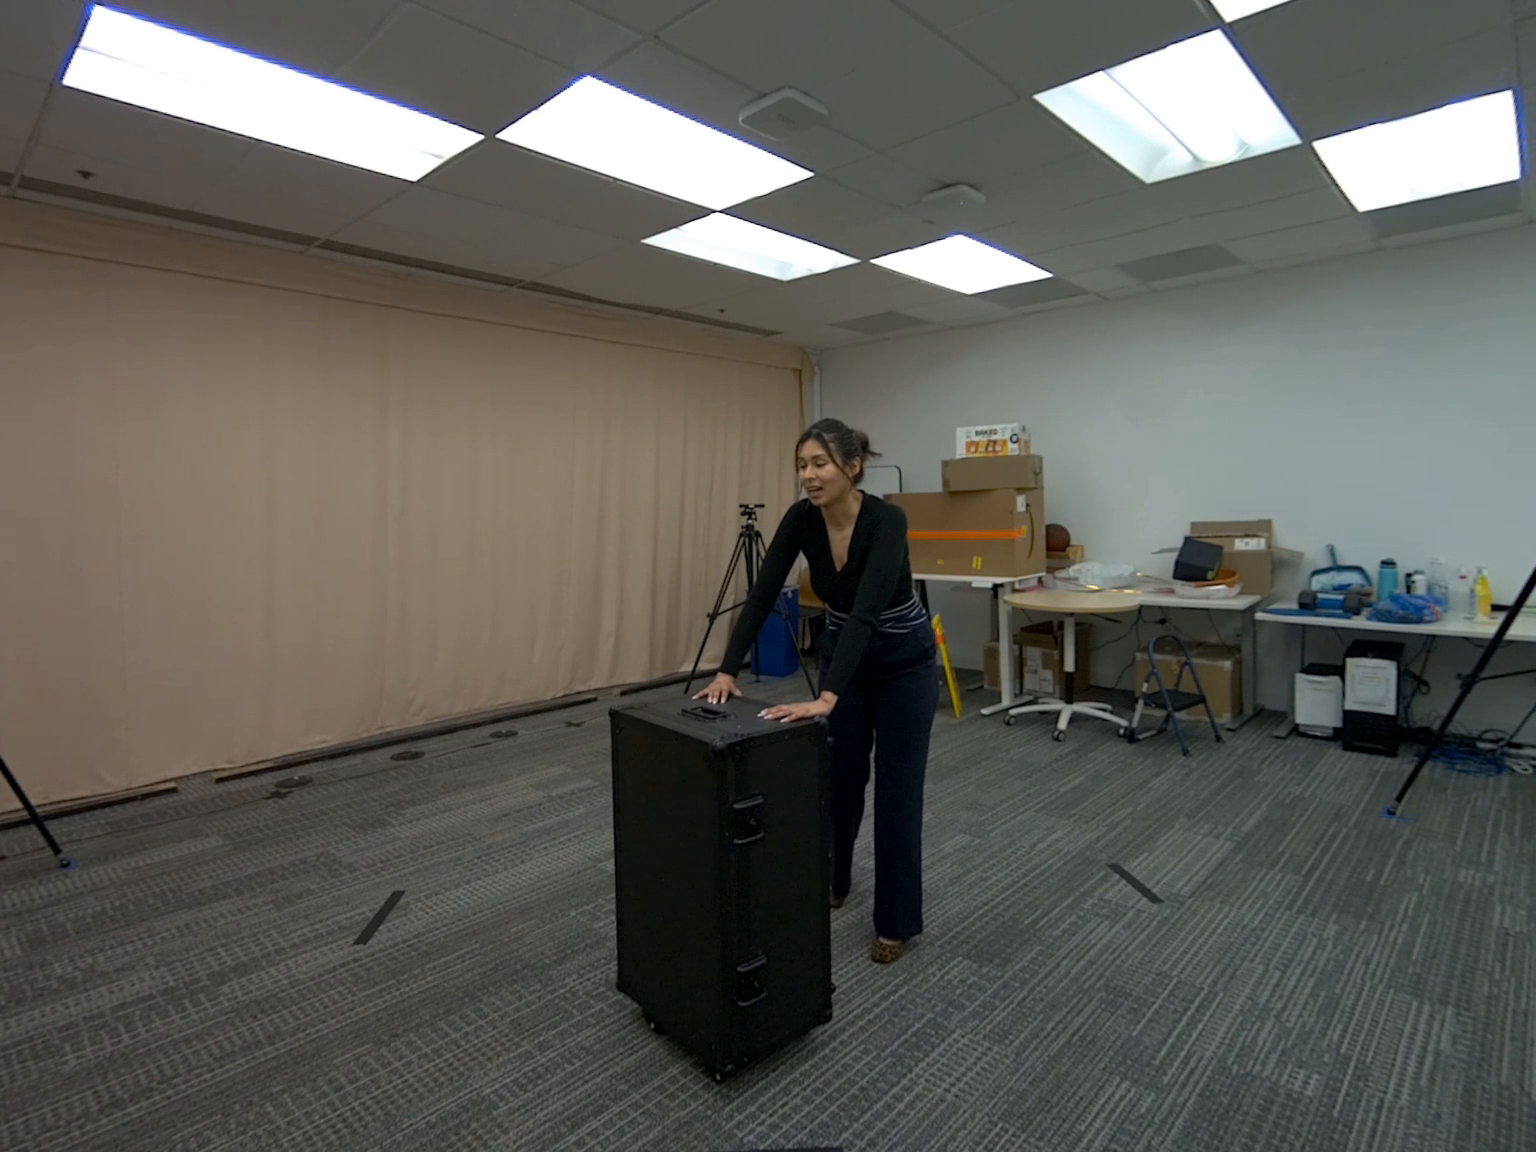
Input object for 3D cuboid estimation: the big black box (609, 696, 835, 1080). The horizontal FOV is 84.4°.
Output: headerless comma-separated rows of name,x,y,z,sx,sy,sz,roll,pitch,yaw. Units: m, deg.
big black box,-0.123,0.781,2.226,0.384,0.860,0.538,-3,4,-40
